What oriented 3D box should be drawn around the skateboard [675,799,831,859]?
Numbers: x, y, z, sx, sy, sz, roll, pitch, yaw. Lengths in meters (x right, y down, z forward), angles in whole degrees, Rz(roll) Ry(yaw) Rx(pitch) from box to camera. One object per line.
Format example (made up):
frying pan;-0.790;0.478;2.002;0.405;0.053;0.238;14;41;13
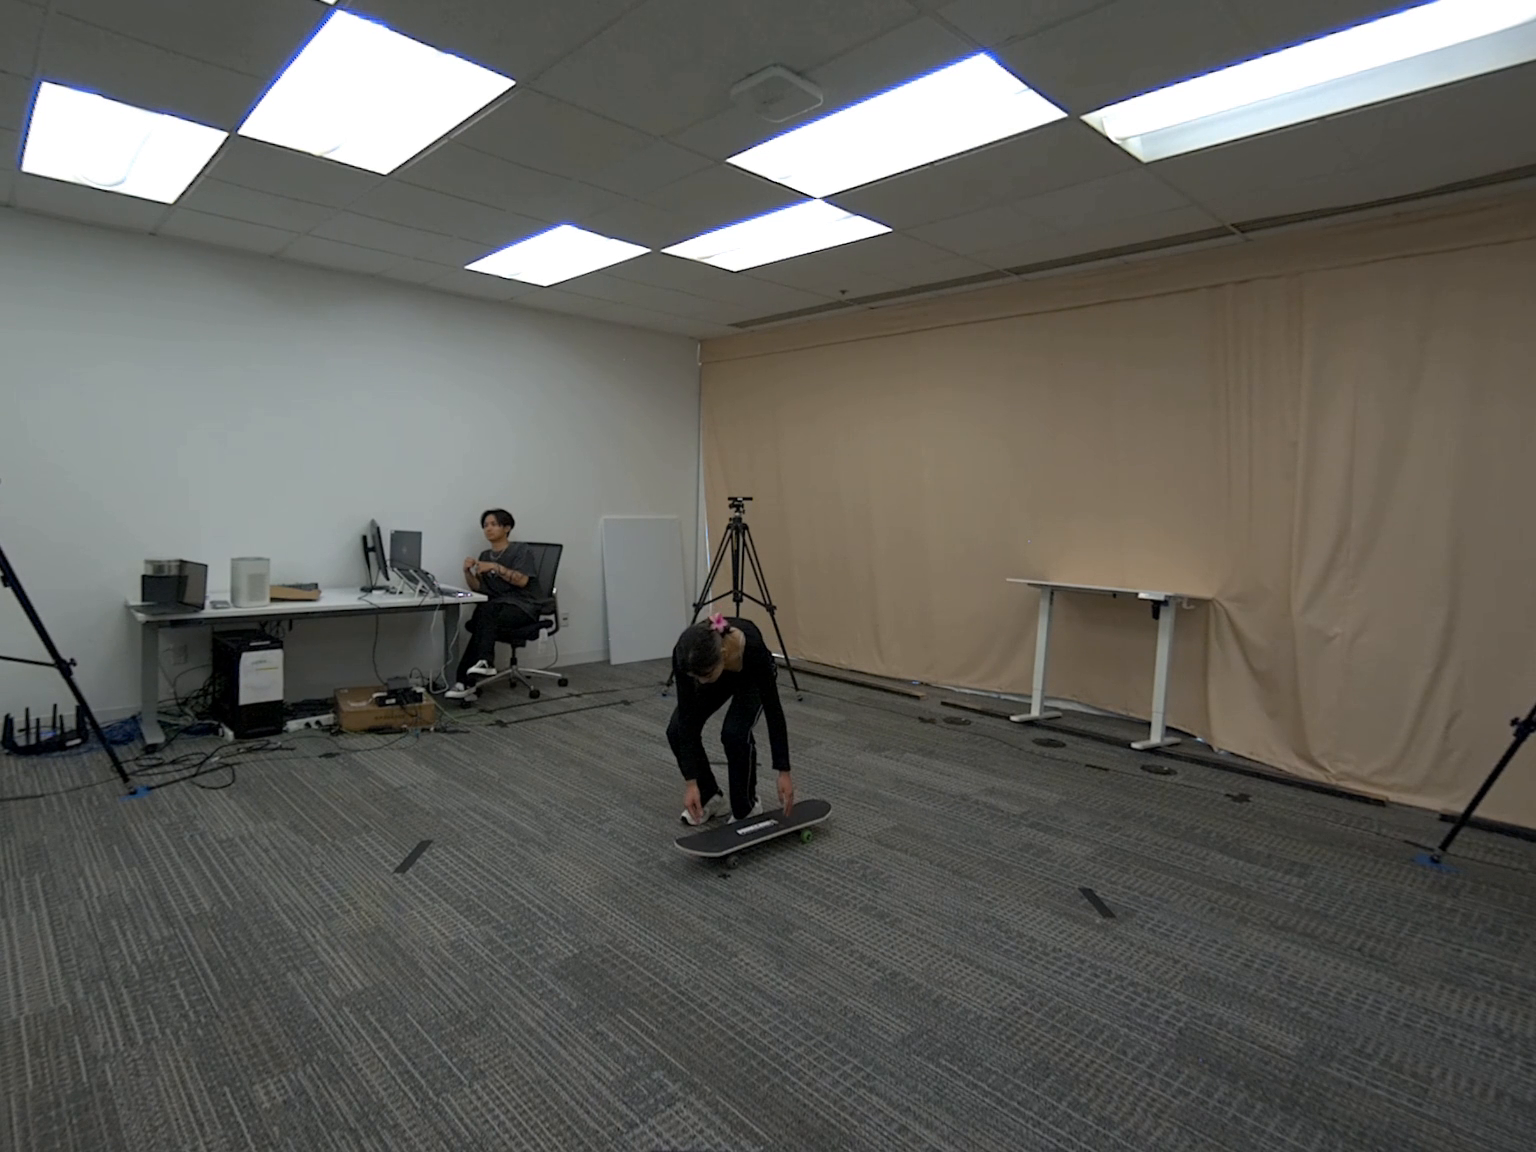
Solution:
skateboard;-0.047;1.029;3.355;0.768;0.110;0.198;-4;7;-43
